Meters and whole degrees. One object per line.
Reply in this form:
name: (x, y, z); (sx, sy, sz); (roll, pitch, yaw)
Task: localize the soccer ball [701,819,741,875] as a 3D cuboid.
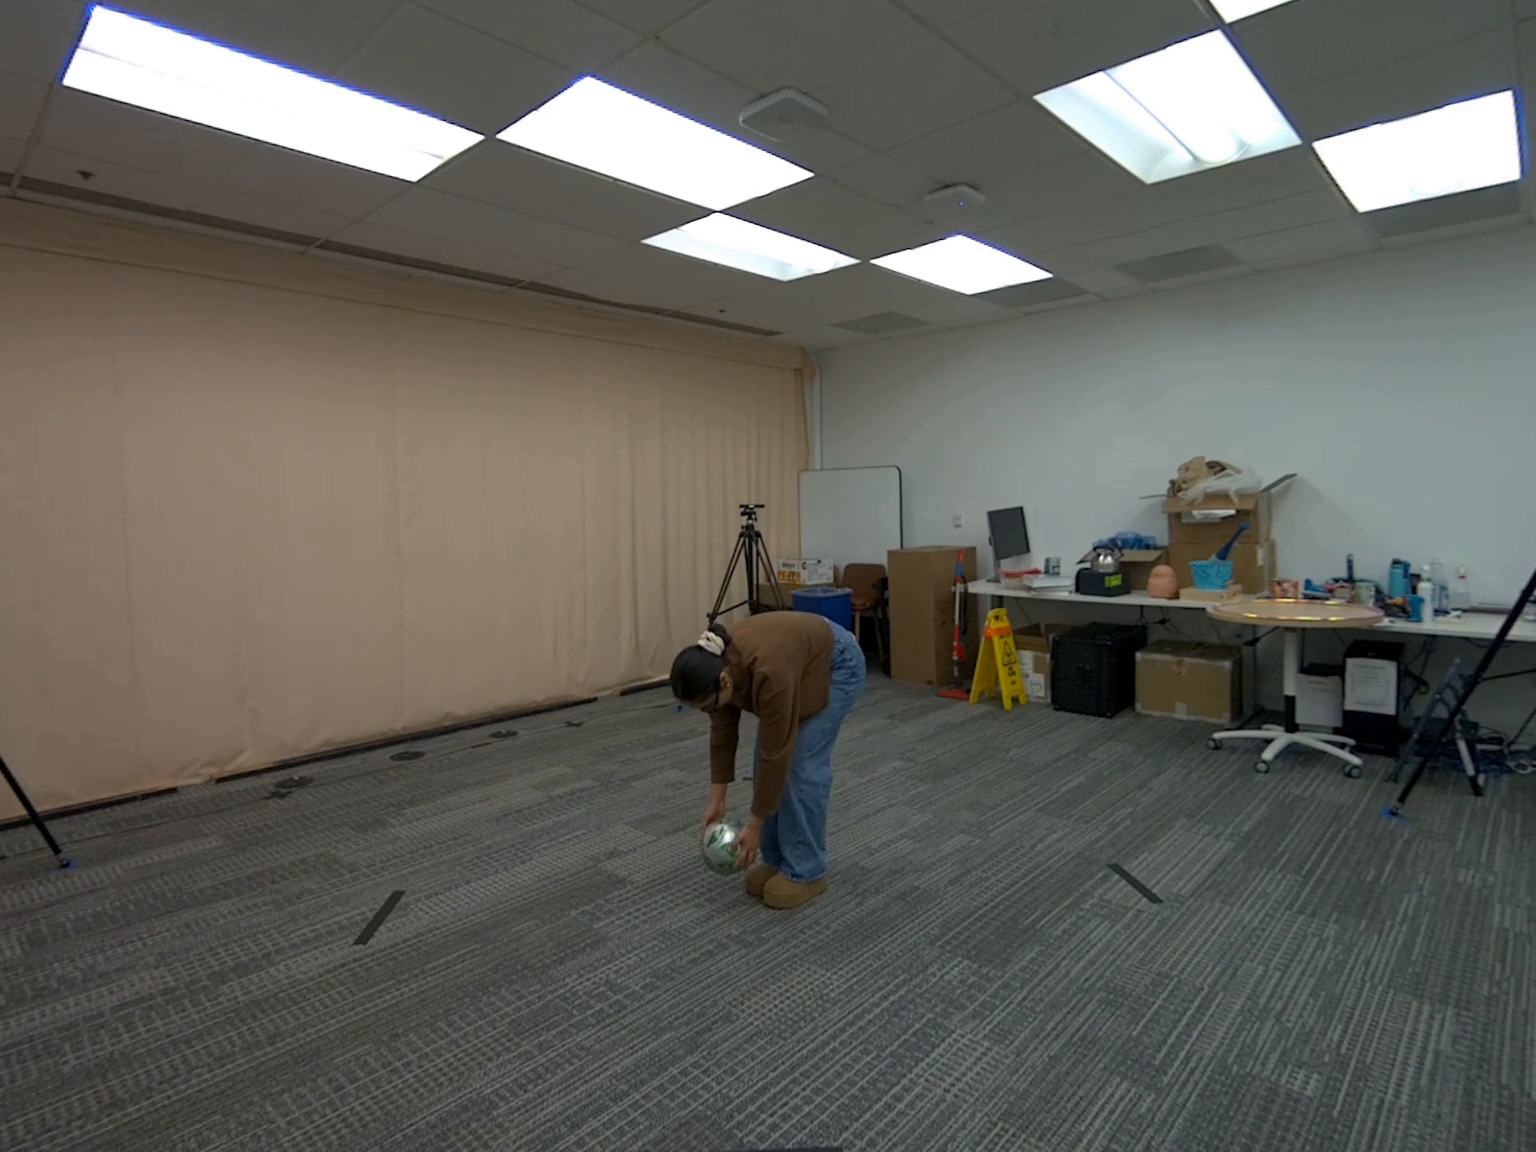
soccer ball: (-0.138, 0.930, 2.905); (0.187, 0.187, 0.188); (-1, 4, -2)
